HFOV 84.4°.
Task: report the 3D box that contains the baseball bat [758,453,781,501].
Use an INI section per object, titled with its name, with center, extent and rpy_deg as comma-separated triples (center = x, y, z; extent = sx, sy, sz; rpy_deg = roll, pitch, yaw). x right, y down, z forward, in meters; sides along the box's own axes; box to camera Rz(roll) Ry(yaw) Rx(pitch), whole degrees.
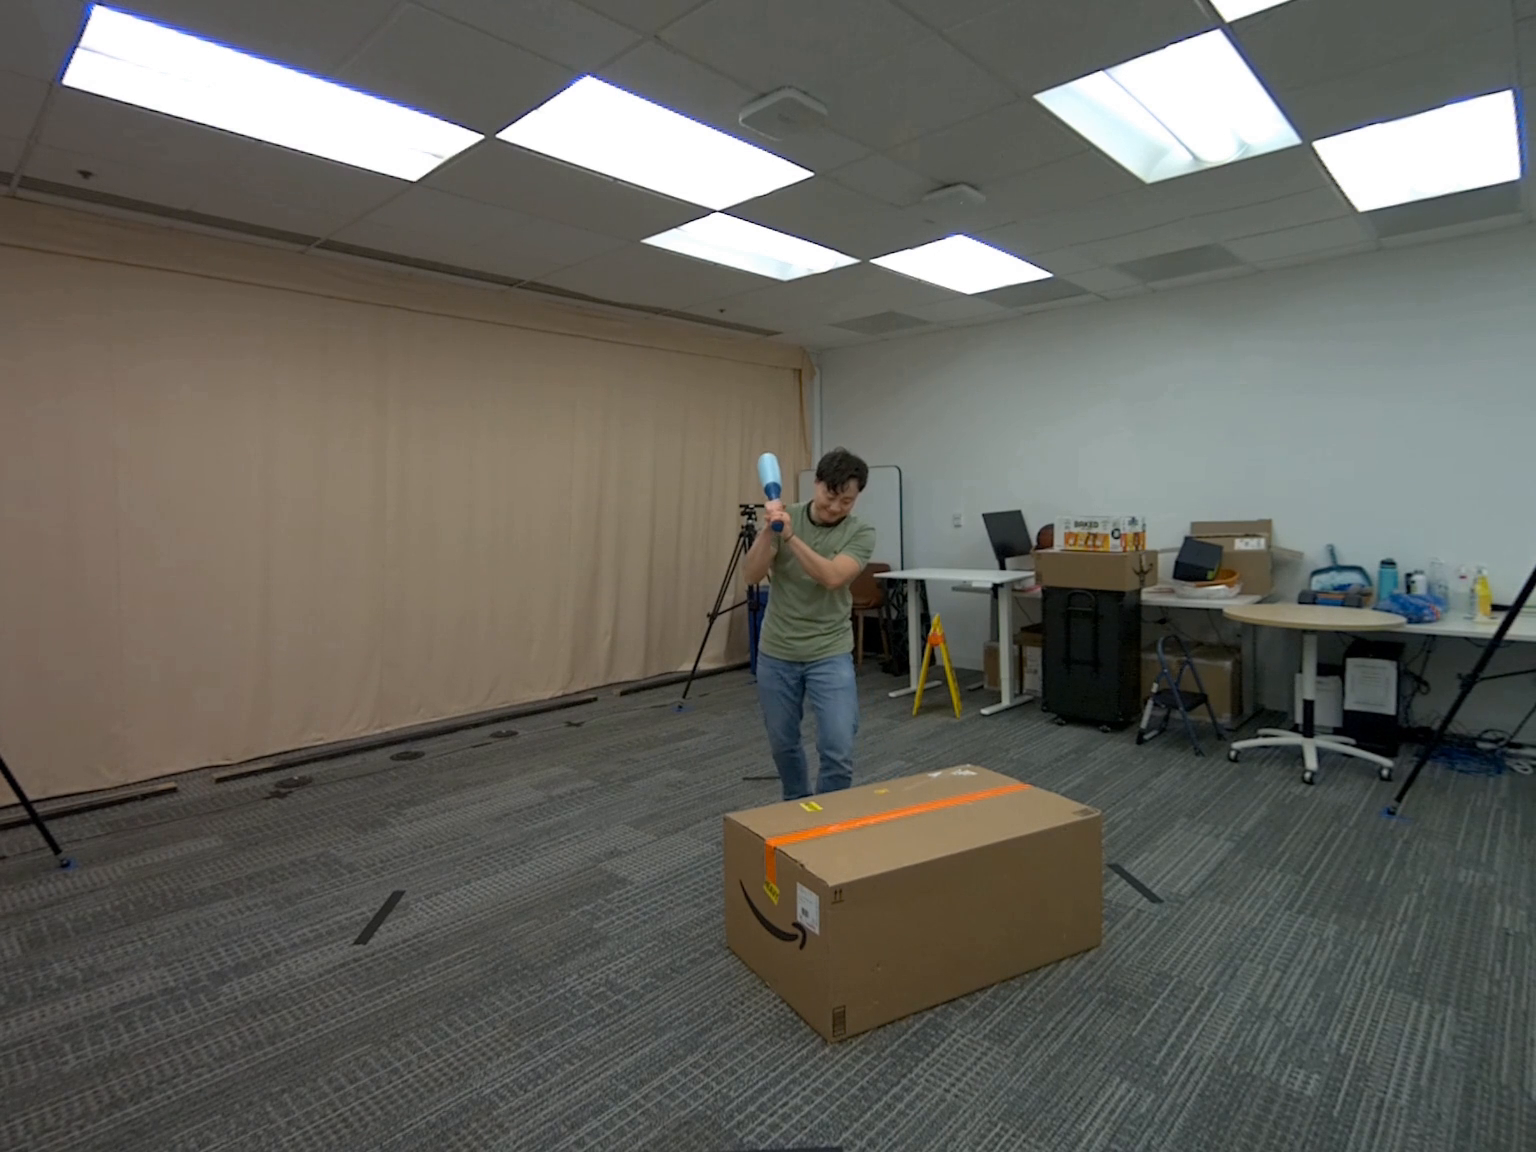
[baseball bat]
center = 0.044, -0.334, 3.328
extent = 0.088, 0.087, 0.554
rpy_deg = -2, 35, -6
